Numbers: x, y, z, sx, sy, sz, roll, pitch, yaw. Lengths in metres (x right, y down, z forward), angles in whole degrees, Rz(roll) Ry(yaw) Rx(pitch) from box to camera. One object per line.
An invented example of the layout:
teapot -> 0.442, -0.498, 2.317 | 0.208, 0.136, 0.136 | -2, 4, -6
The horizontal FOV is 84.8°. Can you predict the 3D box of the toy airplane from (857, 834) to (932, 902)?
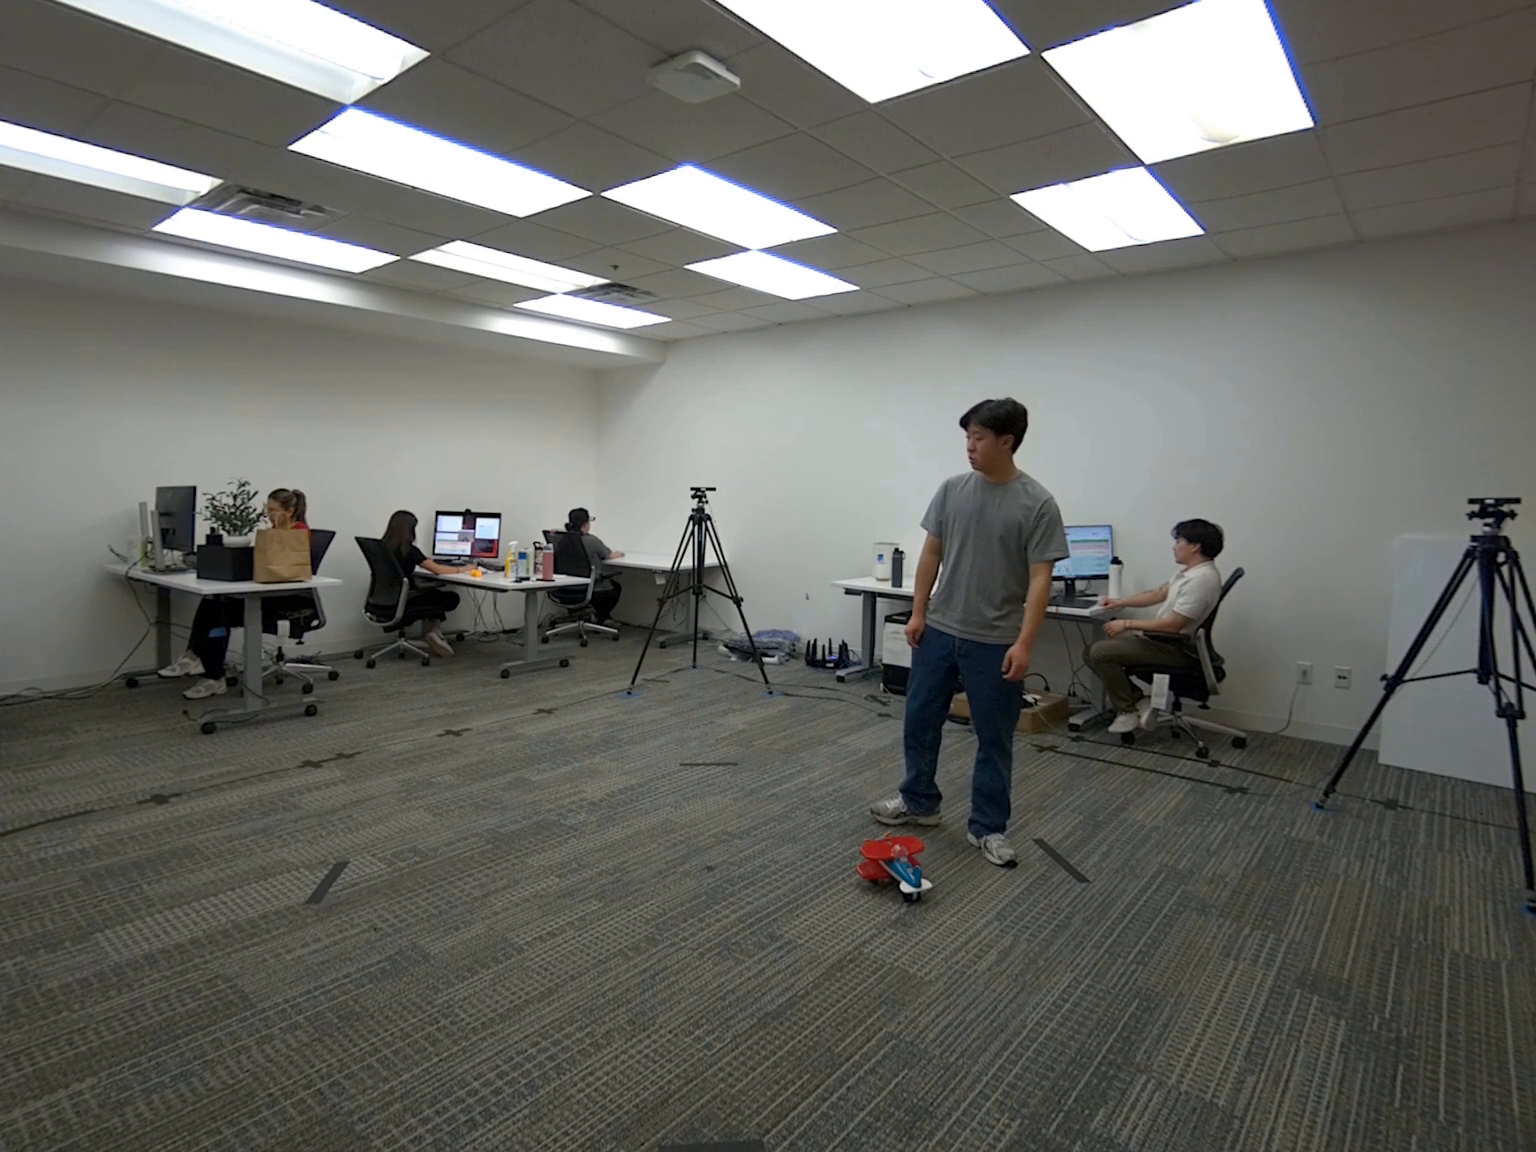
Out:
toy airplane -> 0.462, 1.023, 2.985 | 0.268, 0.156, 0.244 | 4, 6, 36
